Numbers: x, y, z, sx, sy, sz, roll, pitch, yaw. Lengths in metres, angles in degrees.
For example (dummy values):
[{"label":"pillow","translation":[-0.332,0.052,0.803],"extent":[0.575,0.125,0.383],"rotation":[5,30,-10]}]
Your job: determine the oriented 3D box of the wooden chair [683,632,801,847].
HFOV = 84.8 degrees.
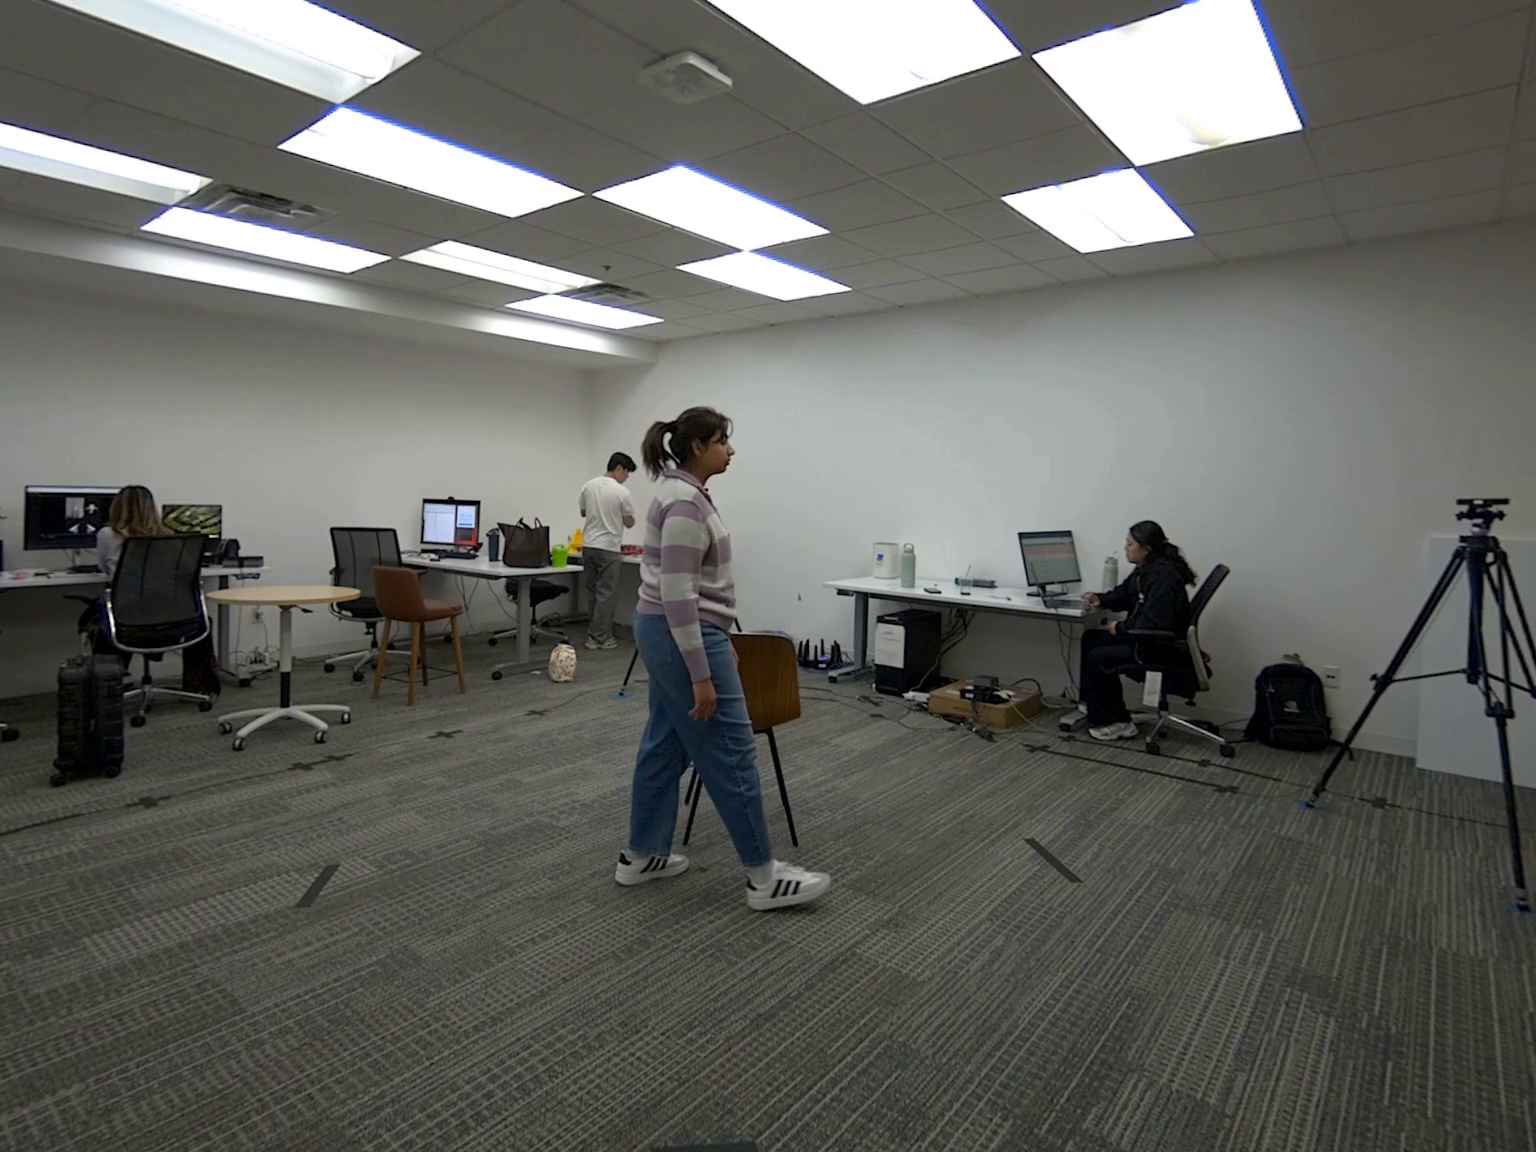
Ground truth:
[{"label":"wooden chair","translation":[-0.134,0.603,3.520],"extent":[0.477,0.872,0.528],"rotation":[0,7,-4]}]
